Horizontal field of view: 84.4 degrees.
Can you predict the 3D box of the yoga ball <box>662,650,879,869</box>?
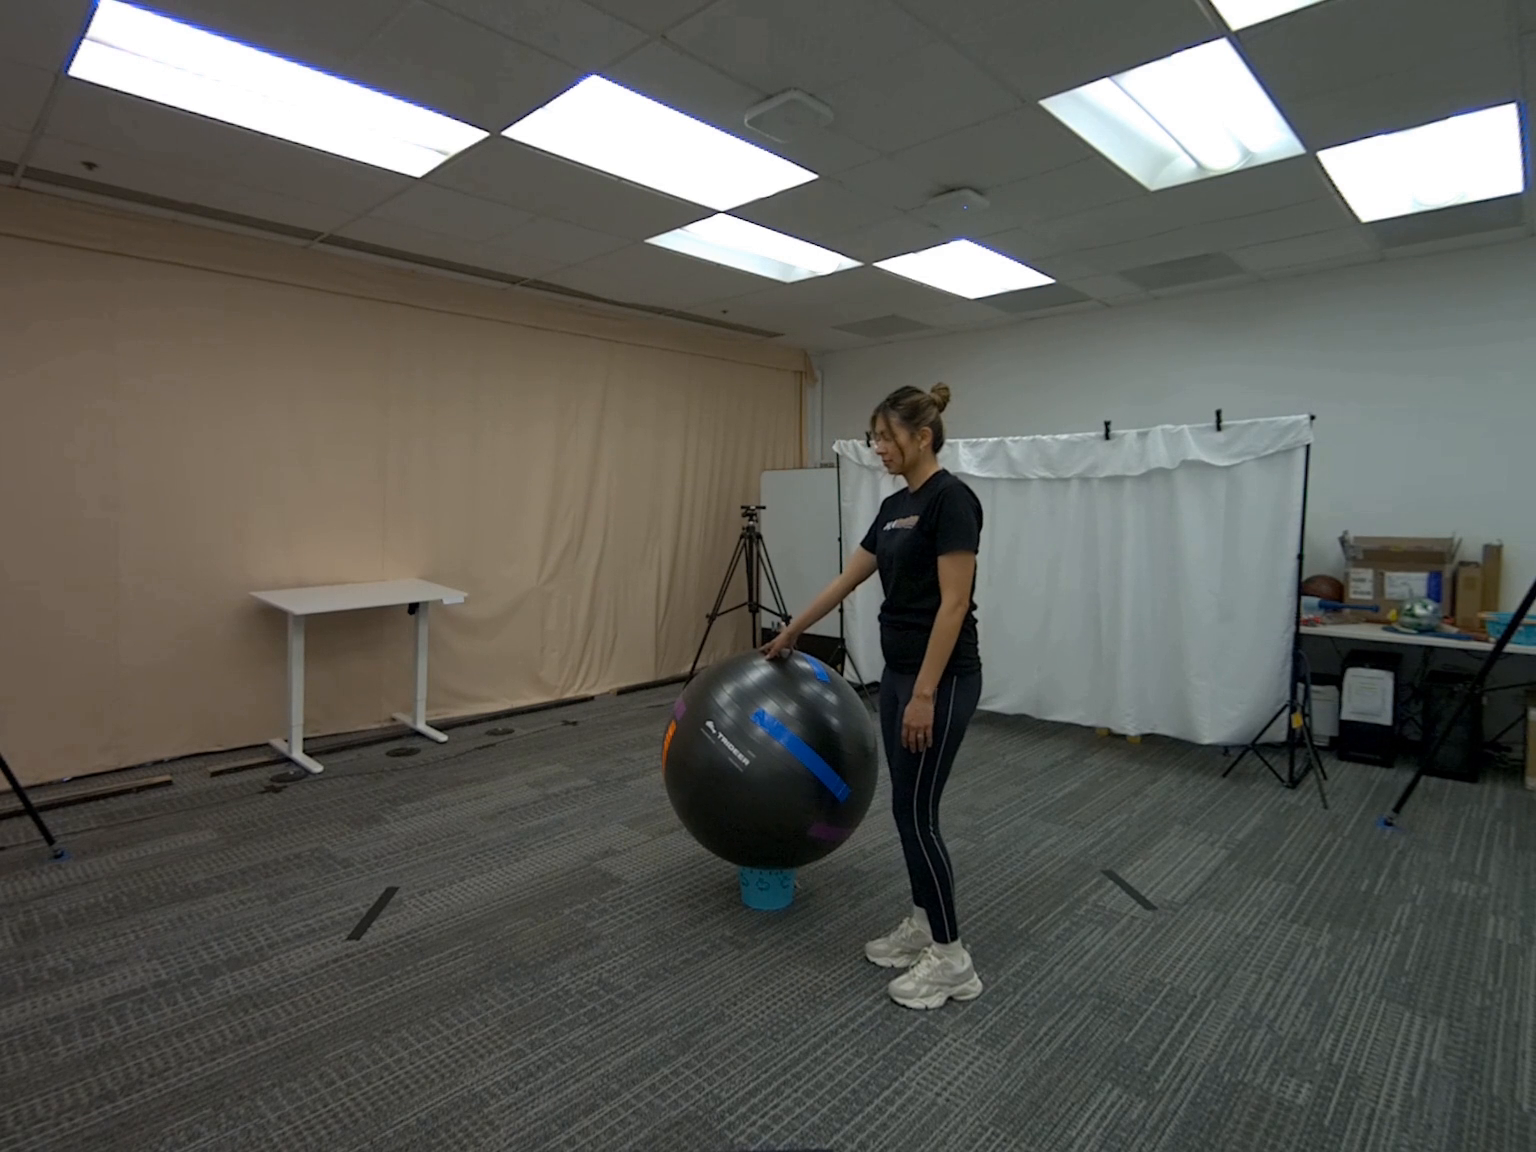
[{"bbox_3d":[0.010,0.638,2.964,0.757,0.756,0.760,0,4,-2],"label":"yoga ball"}]
